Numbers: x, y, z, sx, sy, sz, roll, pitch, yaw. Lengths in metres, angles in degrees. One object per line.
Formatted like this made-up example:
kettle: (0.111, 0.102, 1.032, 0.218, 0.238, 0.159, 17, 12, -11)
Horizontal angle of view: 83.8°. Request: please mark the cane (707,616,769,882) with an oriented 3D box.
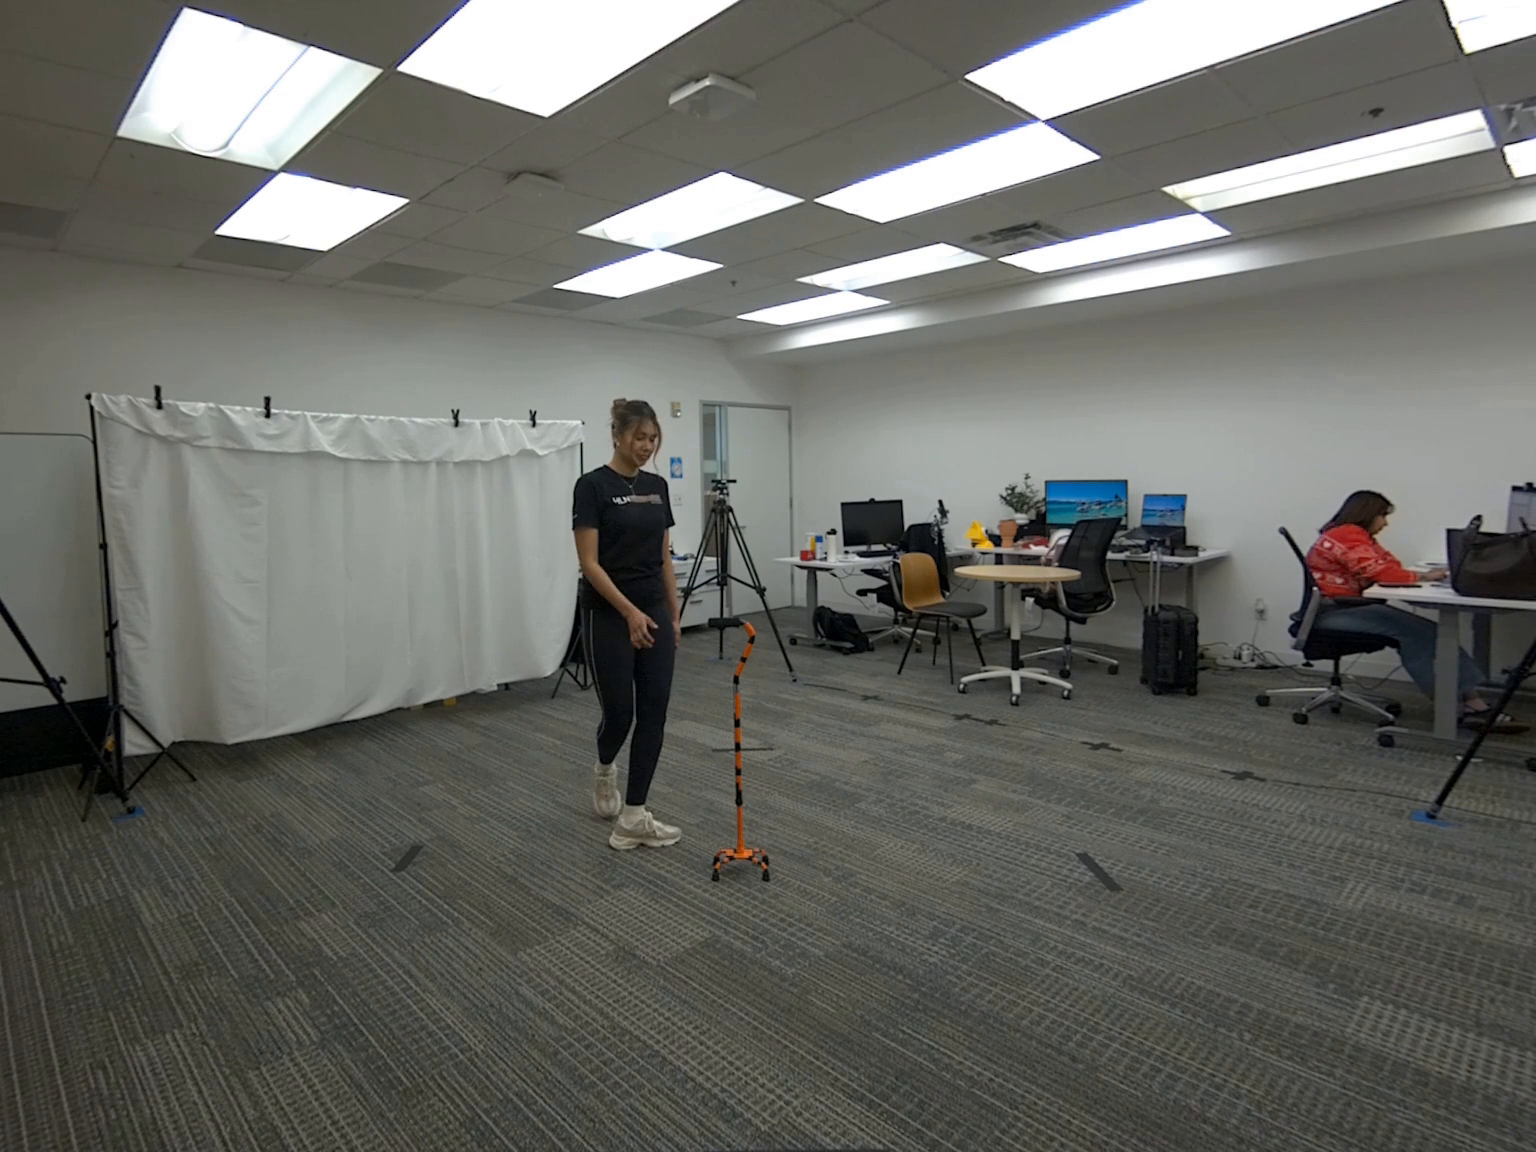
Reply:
cane: (-0.097, 0.605, 3.017, 0.206, 0.905, 0.152, -1, 3, 0)
